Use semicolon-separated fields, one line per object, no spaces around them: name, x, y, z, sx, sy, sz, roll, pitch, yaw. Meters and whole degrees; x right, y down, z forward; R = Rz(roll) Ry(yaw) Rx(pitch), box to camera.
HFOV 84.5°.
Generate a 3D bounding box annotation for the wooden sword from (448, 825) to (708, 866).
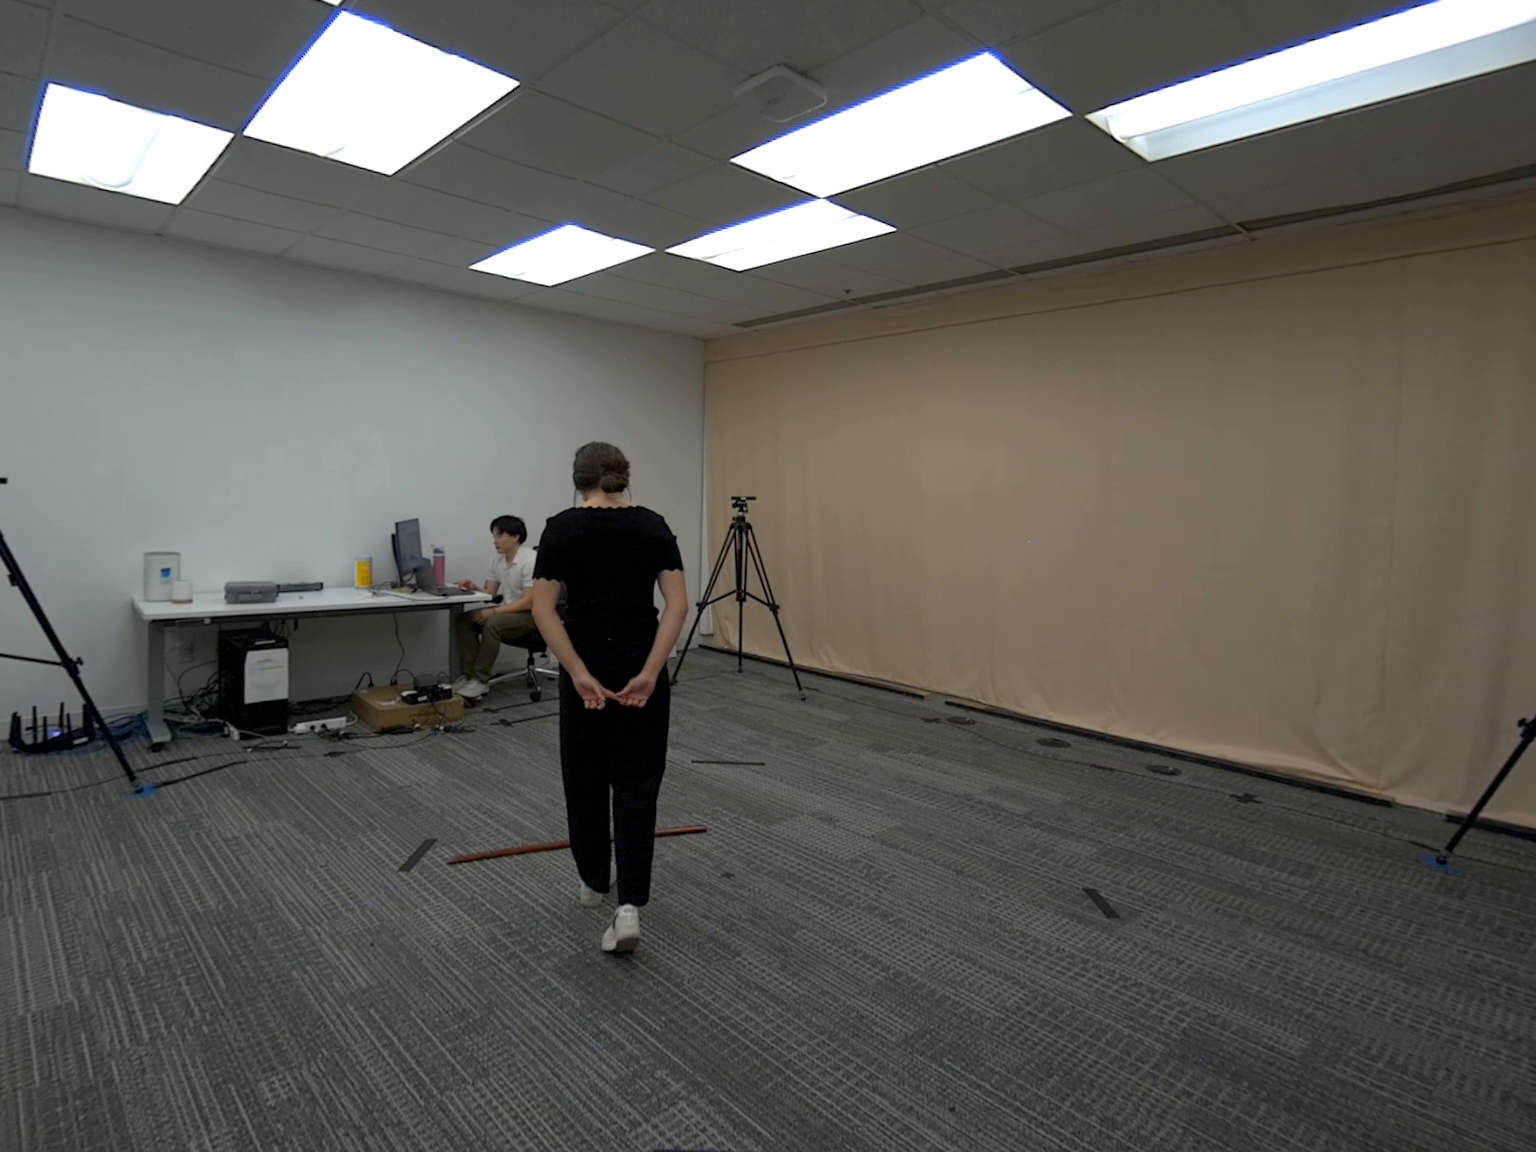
wooden sword;-0.730;1.053;3.334;1.008;0.024;0.052;-1;11;-21
